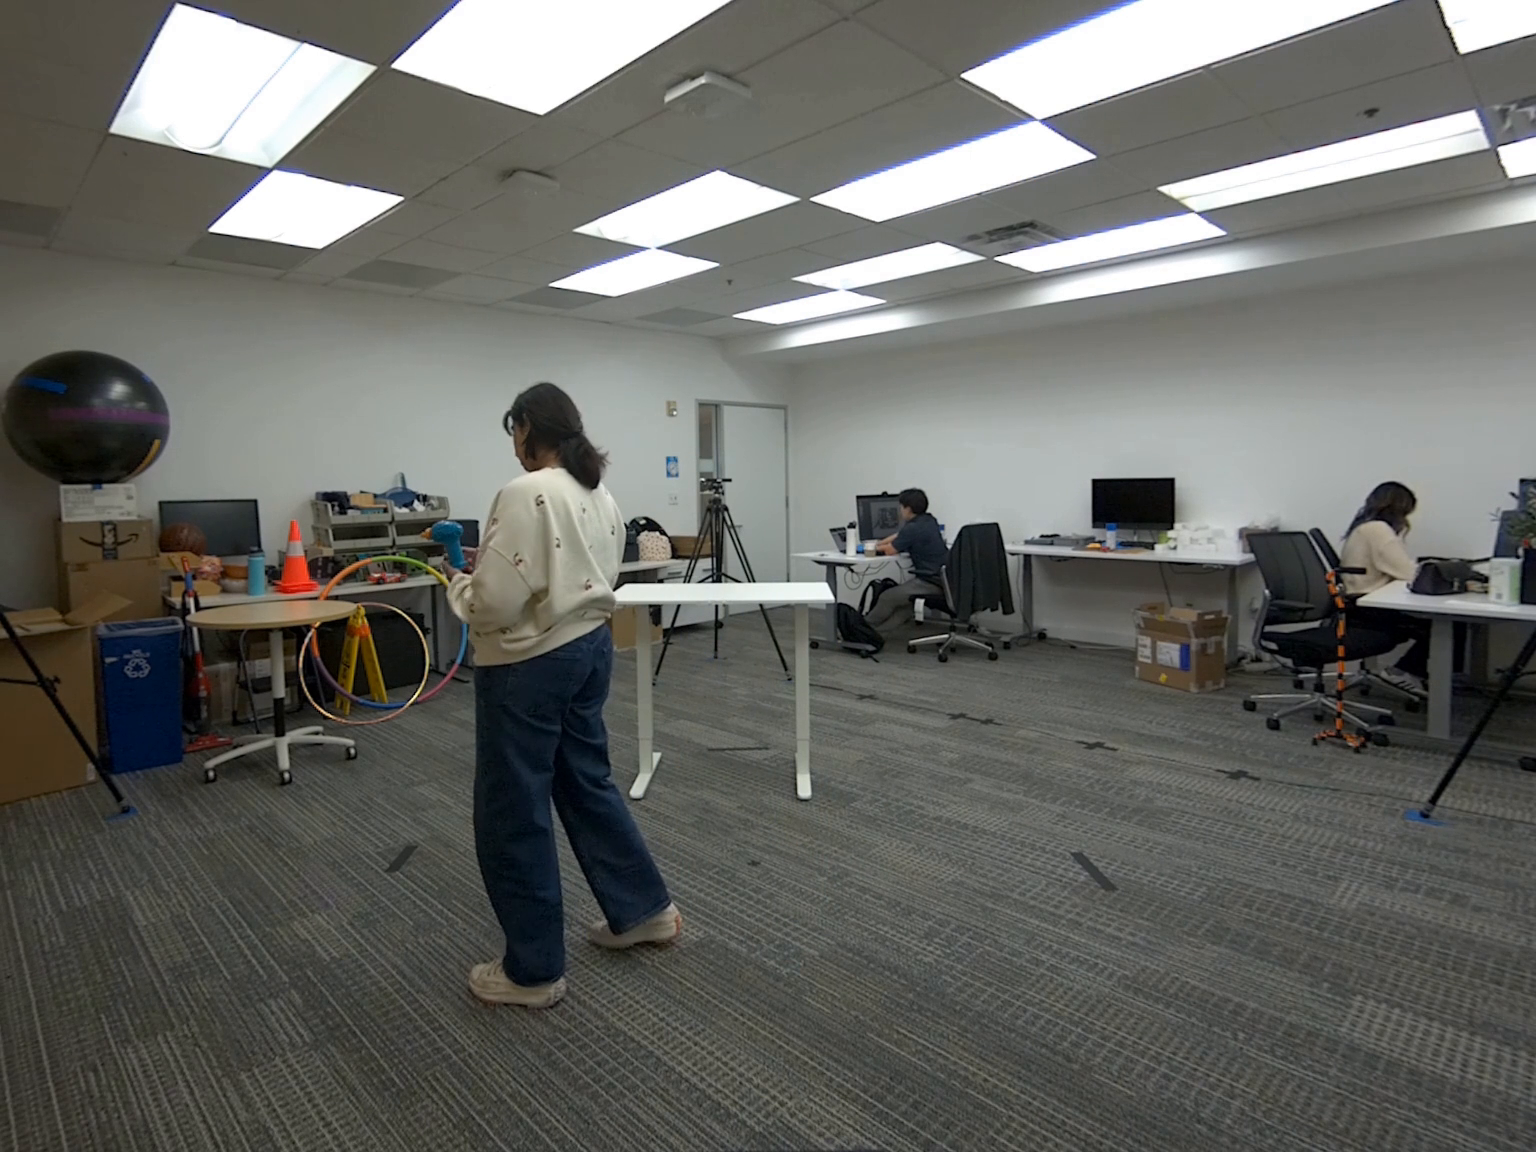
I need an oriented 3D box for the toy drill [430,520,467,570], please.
[{"bbox_3d":[-0.909,-0.083,2.417,0.173,0.144,0.061,-6,13,23],"label":"toy drill"}]
